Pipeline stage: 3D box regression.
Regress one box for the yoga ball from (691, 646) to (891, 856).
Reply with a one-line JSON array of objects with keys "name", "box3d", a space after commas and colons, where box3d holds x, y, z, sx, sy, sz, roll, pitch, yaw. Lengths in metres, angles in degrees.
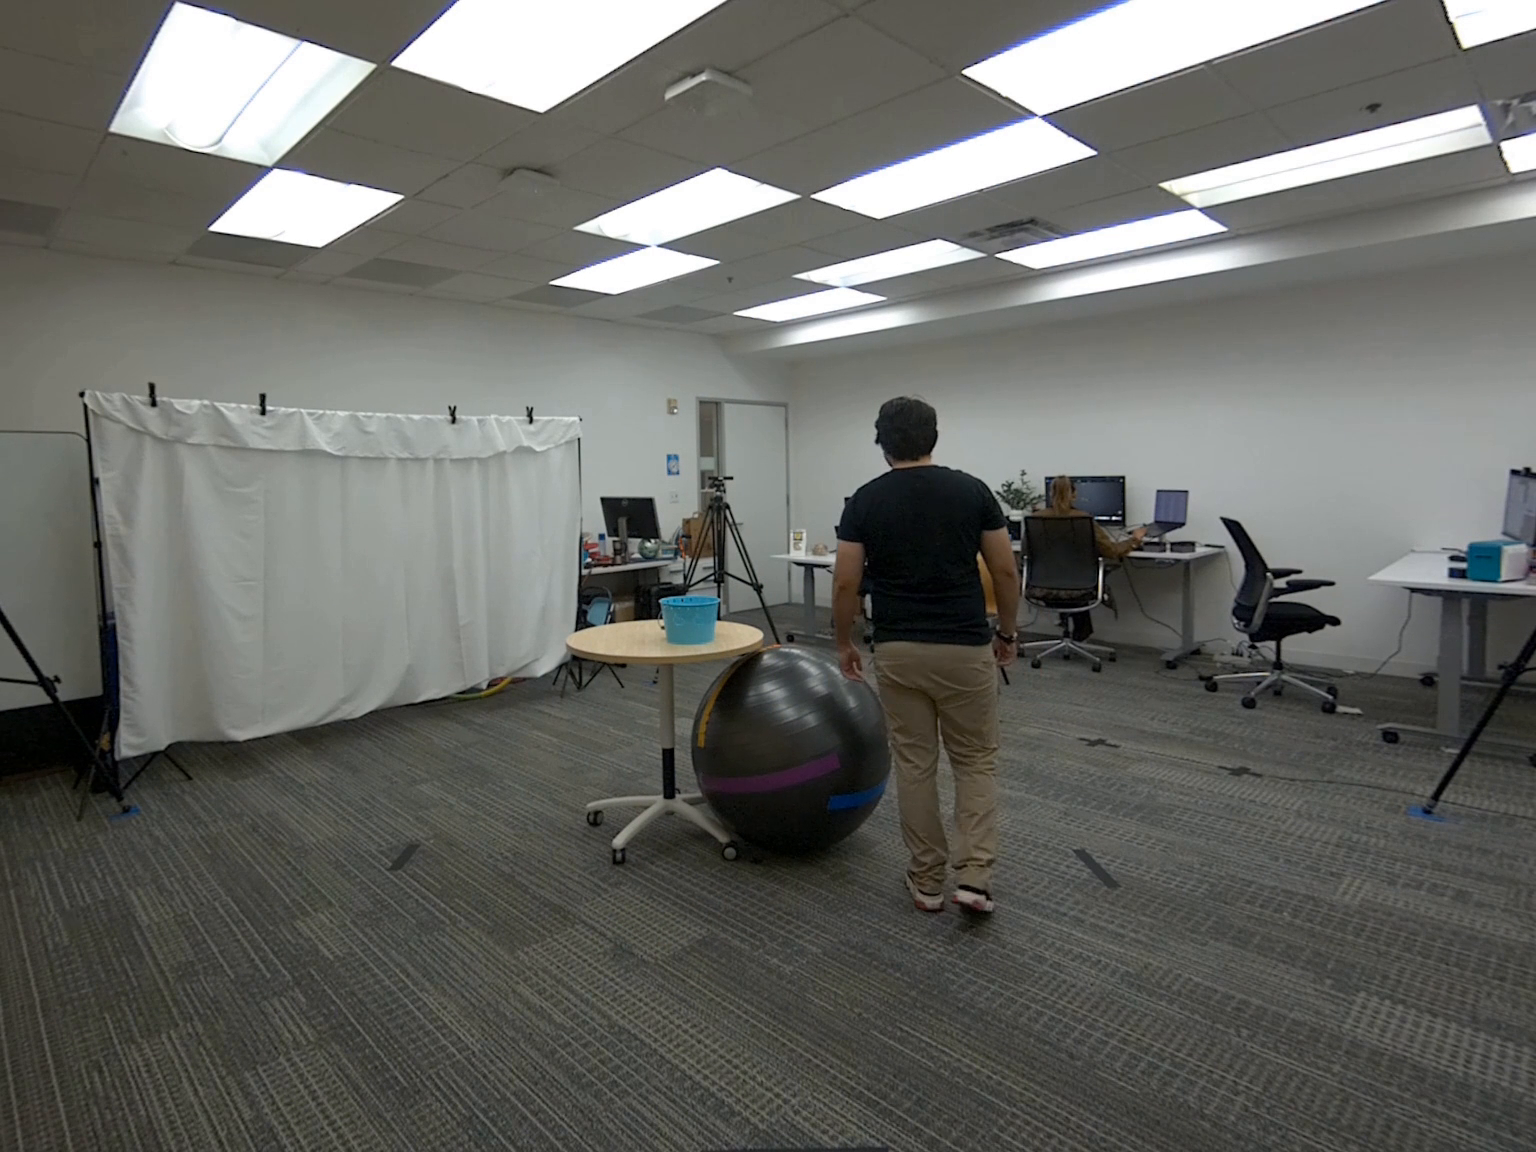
[{"name": "yoga ball", "box3d": [0.091, 0.648, 3.234, 0.757, 0.755, 0.762, -1, 5, -2]}]
